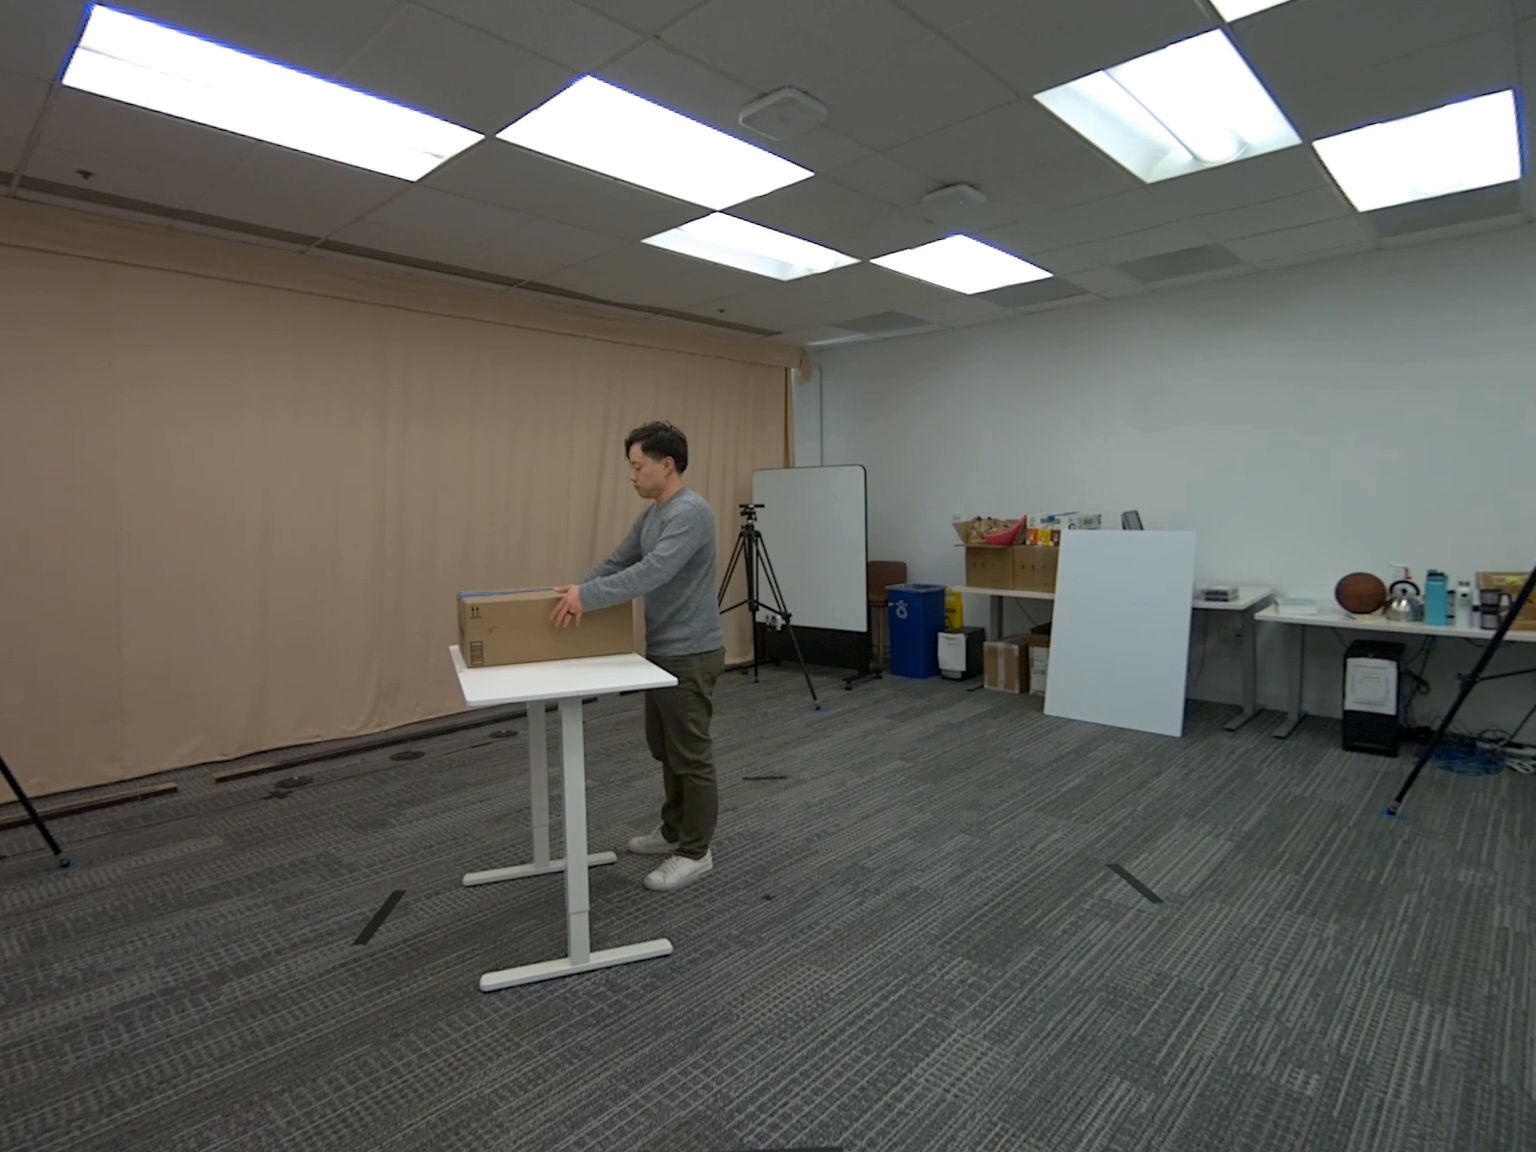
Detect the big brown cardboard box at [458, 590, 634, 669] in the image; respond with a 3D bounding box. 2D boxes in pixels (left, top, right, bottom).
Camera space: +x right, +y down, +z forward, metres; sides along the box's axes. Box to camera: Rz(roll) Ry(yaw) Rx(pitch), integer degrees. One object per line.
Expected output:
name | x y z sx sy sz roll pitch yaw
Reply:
big brown cardboard box | -0.808 0.166 3.031 0.576 0.232 0.428 -4 6 -23
